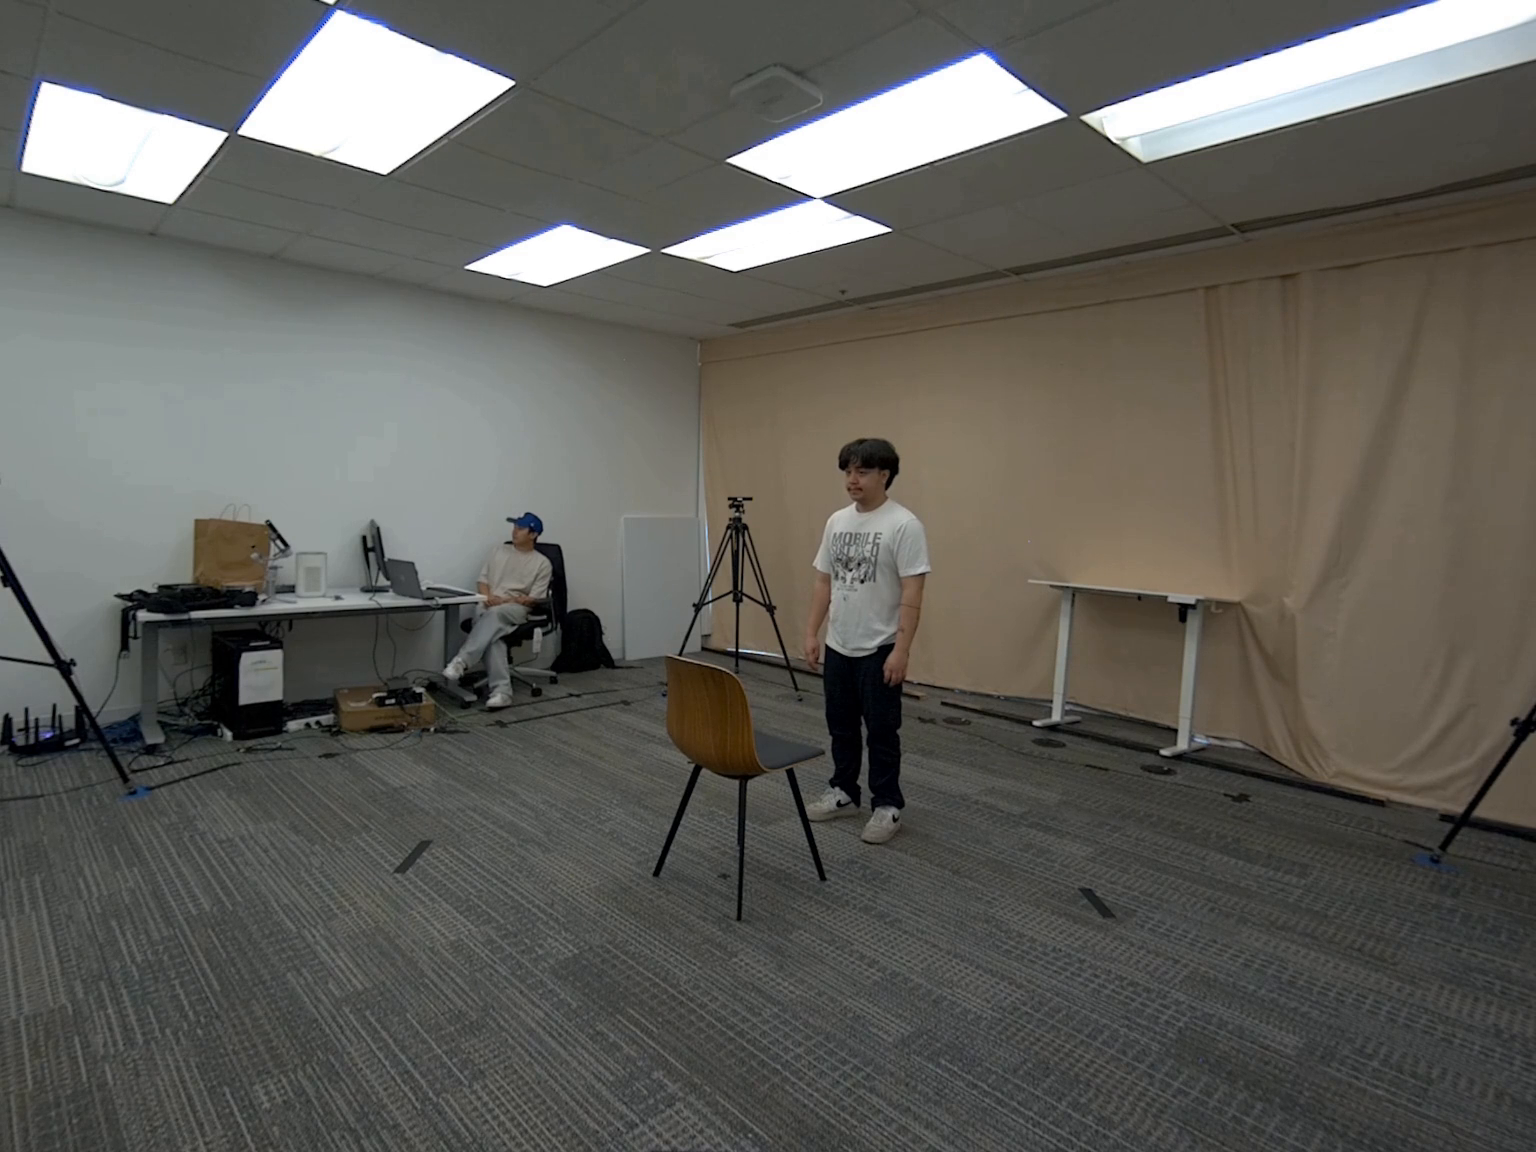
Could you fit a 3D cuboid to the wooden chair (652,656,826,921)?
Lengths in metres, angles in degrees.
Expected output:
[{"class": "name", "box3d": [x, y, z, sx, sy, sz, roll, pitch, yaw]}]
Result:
[{"class": "wooden chair", "box3d": [-0.092, 0.684, 3.061, 0.490, 0.873, 0.512, 4, 9, 44]}]
